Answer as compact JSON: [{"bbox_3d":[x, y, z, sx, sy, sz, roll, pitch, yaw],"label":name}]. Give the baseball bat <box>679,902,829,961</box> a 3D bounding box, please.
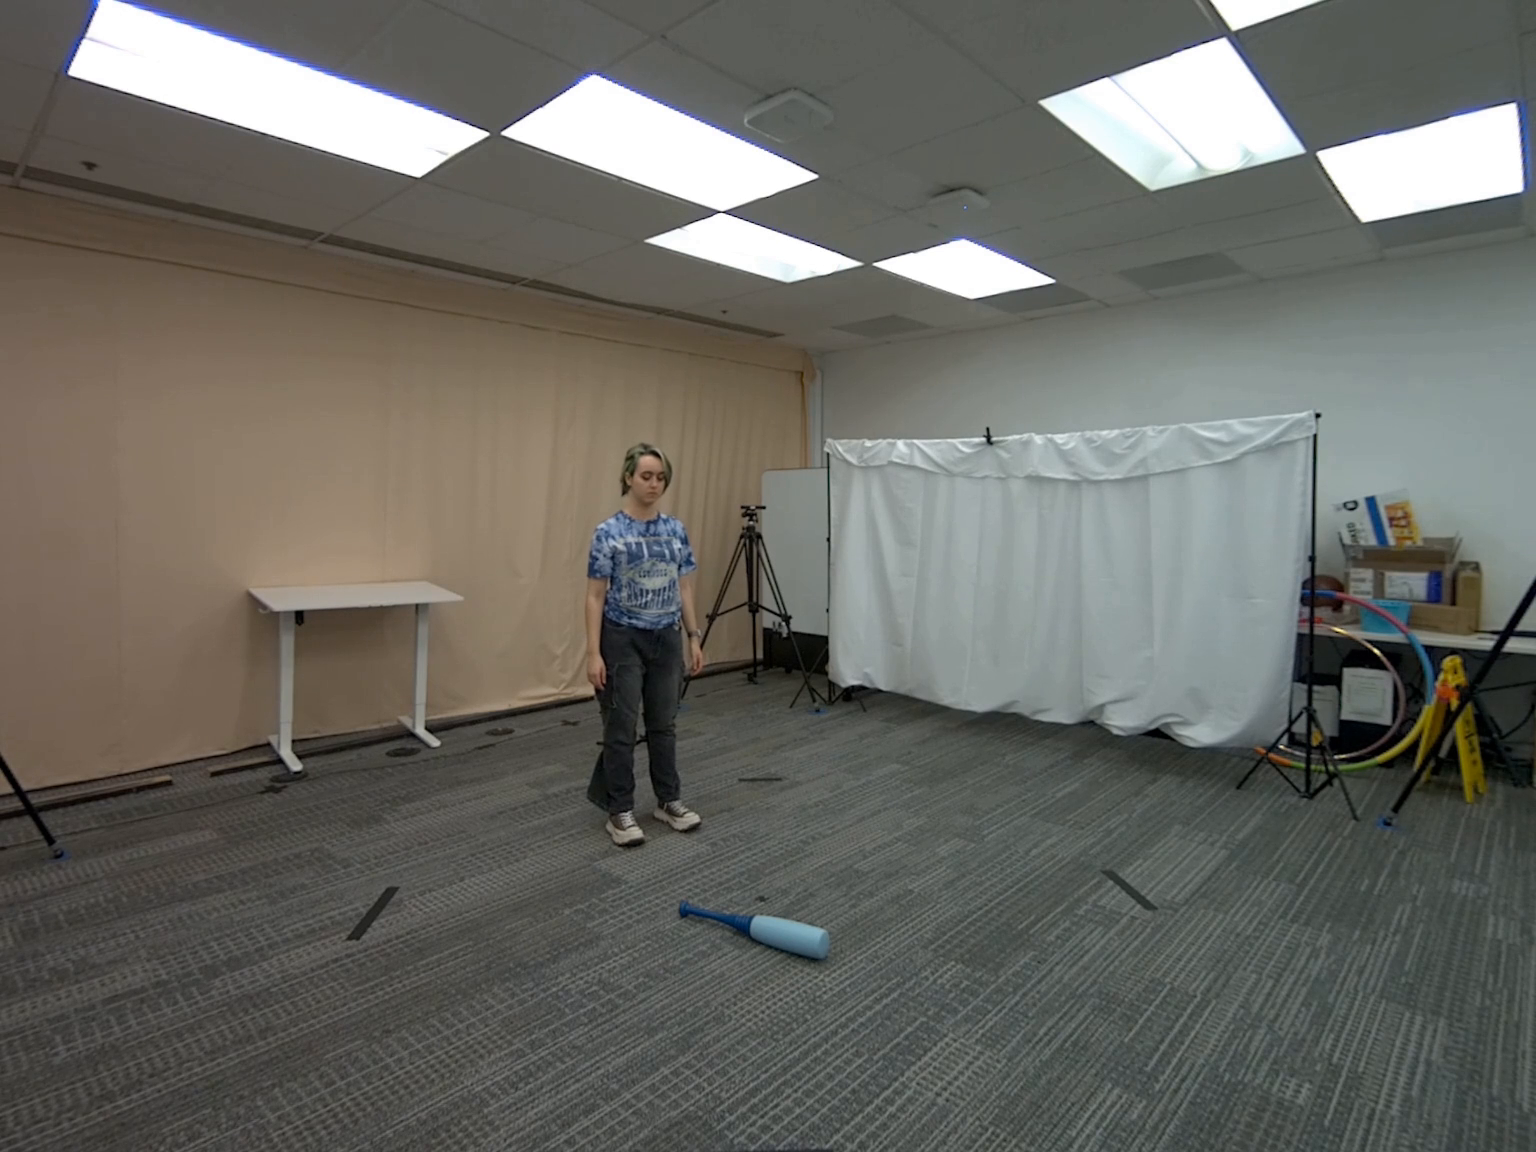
[{"bbox_3d":[-0.058,1.131,2.714,0.558,0.089,0.086,-1,3,31],"label":"baseball bat"}]
